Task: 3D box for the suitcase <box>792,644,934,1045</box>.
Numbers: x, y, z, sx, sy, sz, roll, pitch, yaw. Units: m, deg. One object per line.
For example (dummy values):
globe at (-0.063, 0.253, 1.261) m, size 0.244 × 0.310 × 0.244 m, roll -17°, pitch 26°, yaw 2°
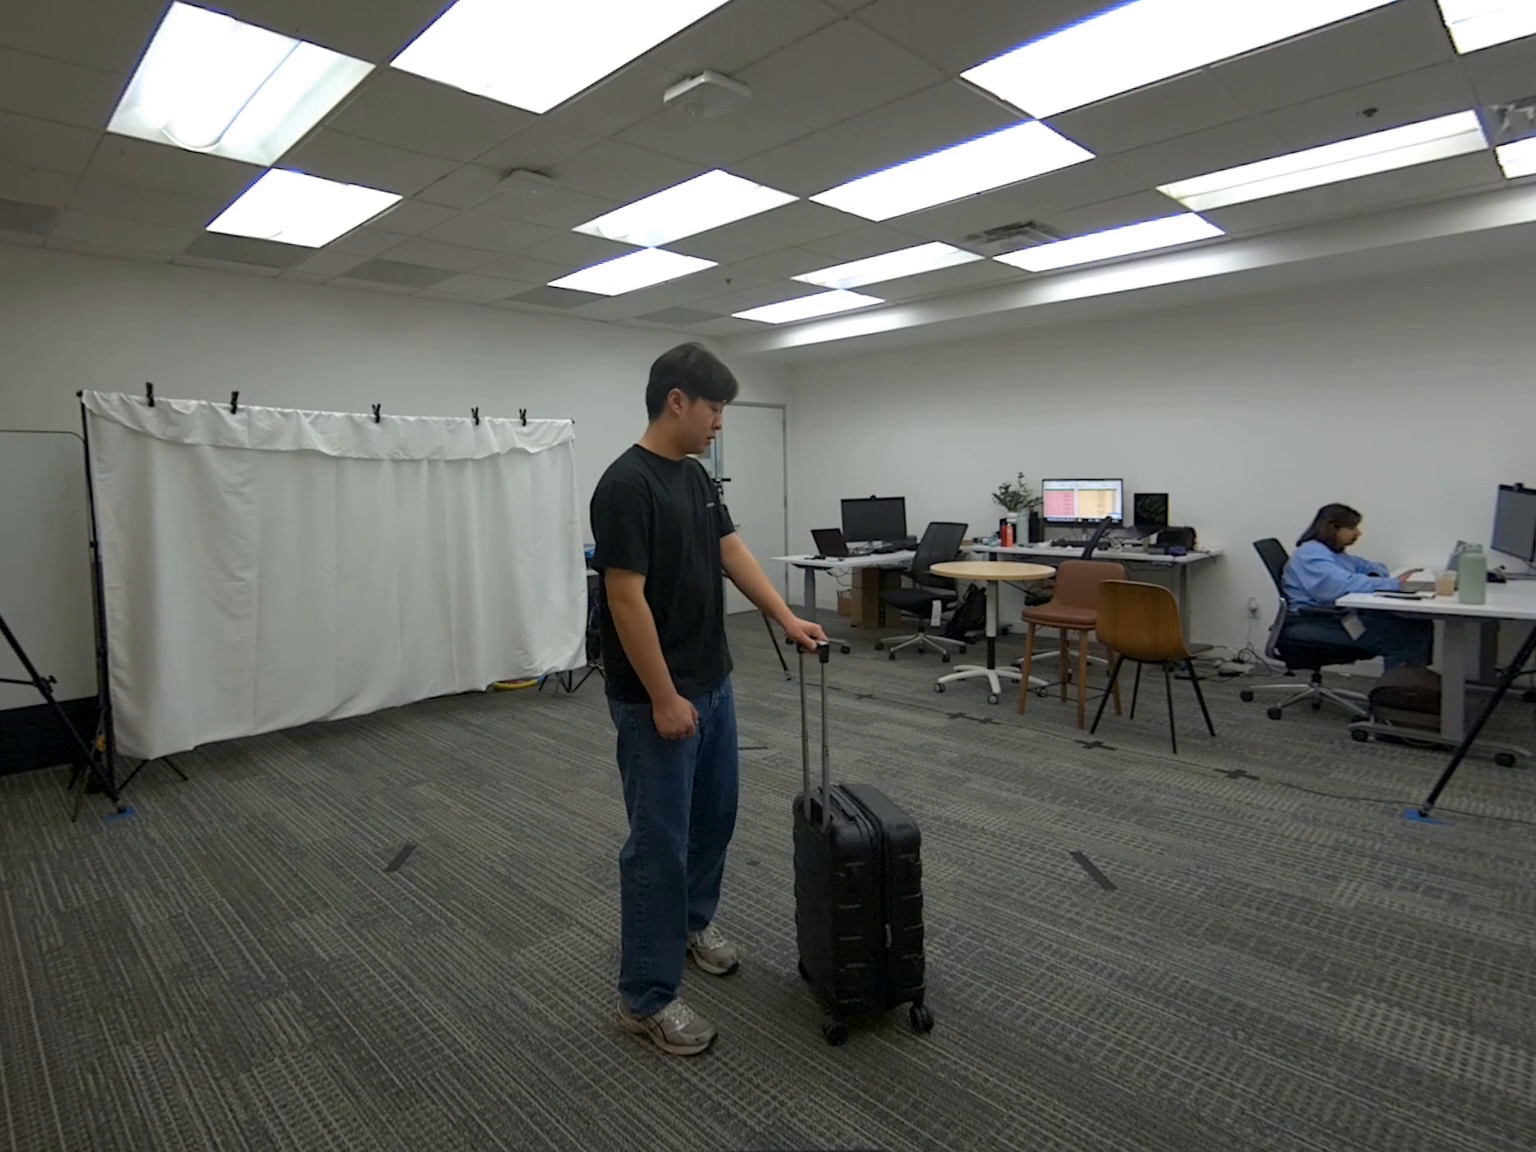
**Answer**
suitcase at (0.240, 0.661, 2.268) m, size 0.254 × 0.976 × 0.390 m, roll -1°, pitch 3°, yaw -14°
